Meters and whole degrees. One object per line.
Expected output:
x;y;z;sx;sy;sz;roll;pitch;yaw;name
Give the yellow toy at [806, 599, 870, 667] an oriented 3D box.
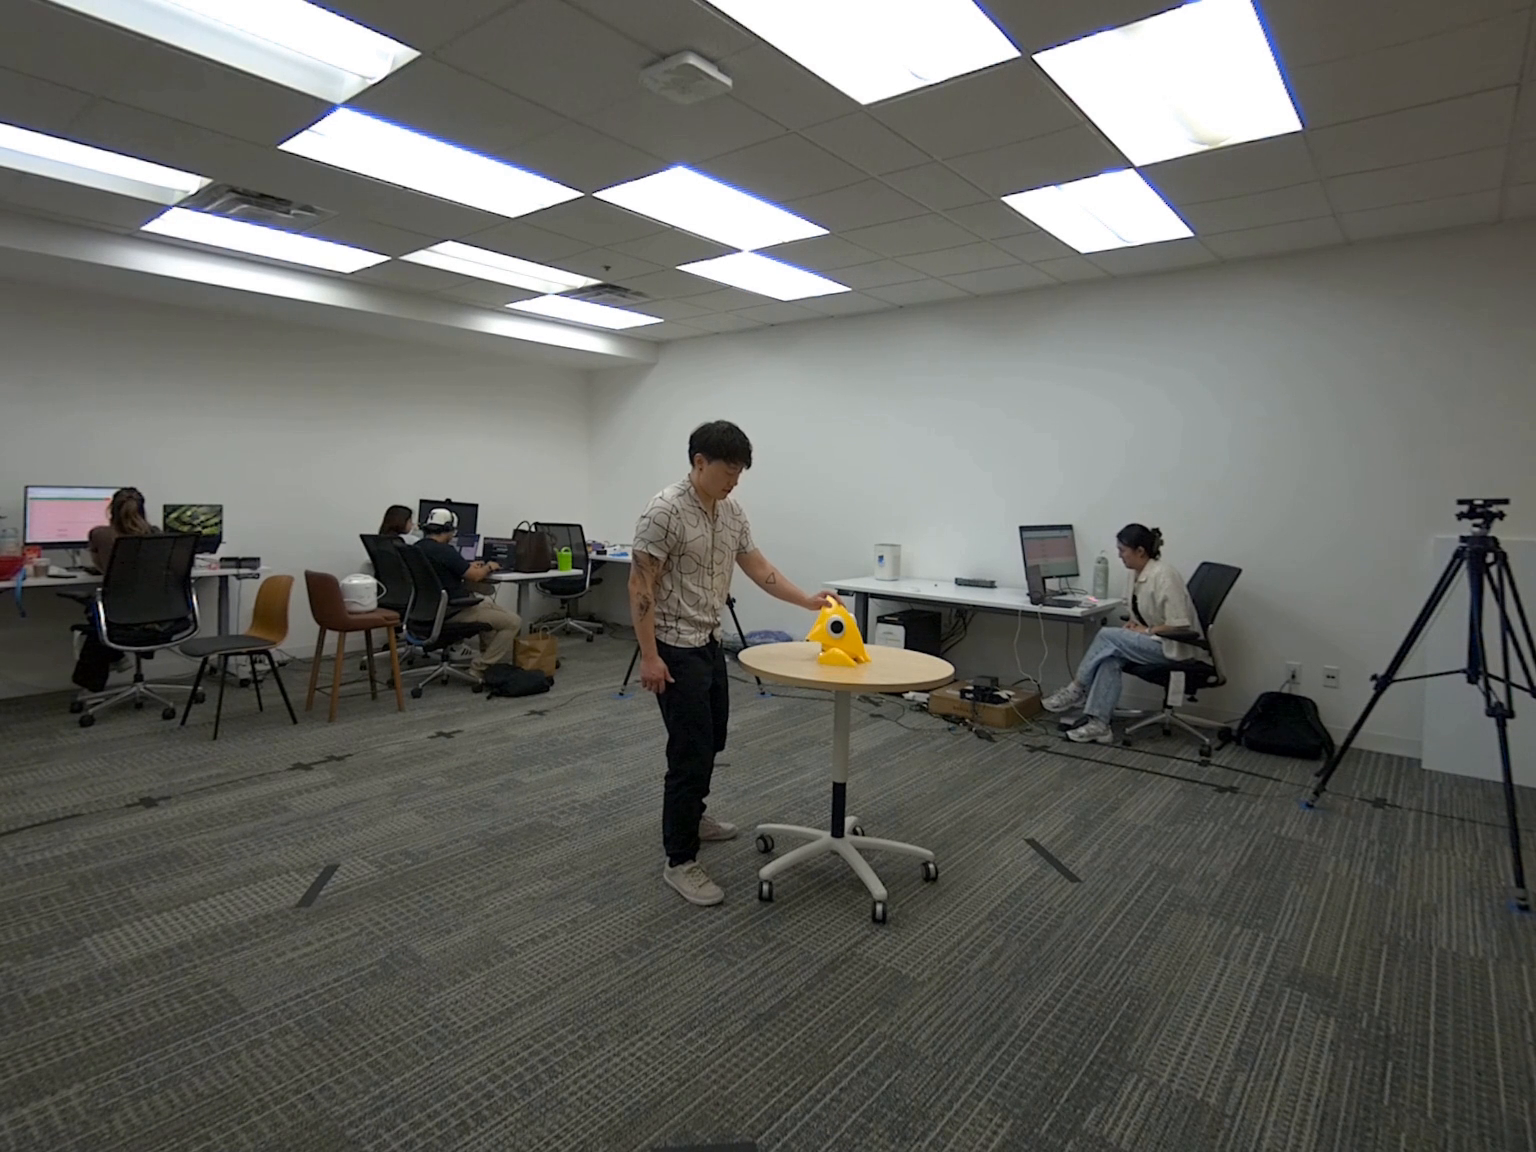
0.258;0.191;3.051;0.199;0.230;0.199;4;4;33;yellow toy
